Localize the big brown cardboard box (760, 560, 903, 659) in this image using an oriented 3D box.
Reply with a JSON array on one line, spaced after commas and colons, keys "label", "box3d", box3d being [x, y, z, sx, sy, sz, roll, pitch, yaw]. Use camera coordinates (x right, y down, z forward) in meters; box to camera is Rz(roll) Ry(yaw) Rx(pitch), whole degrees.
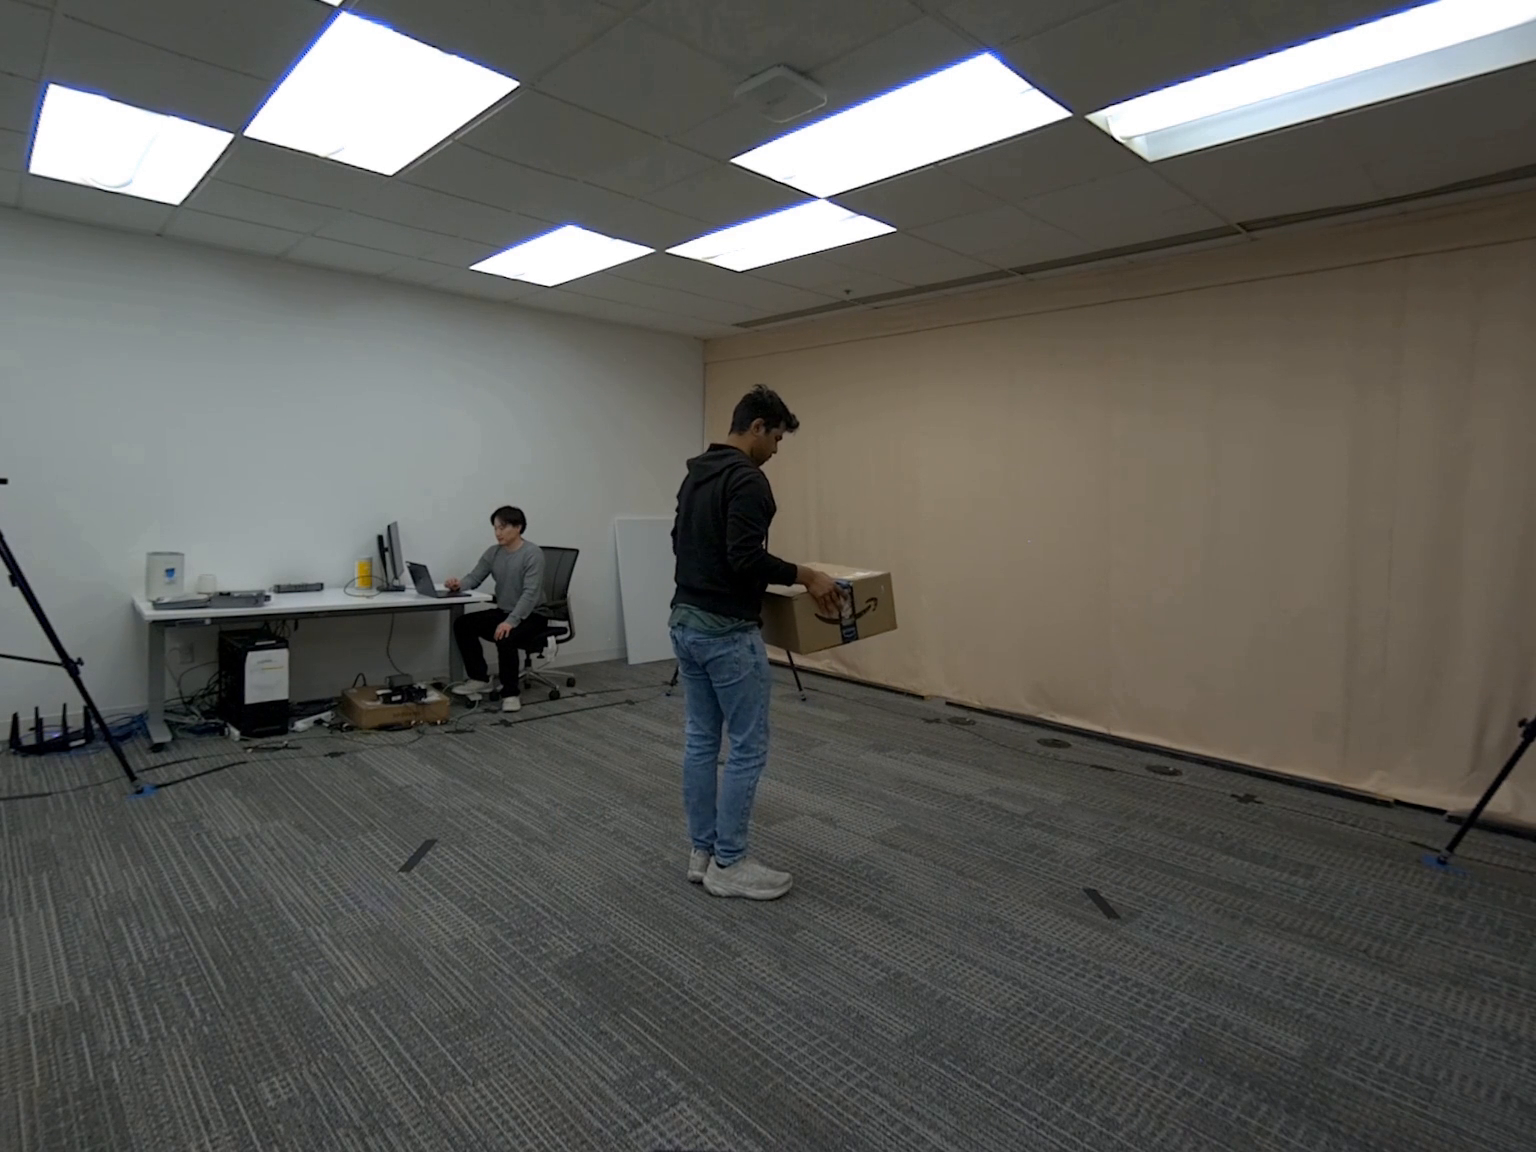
[{"label": "big brown cardboard box", "box3d": [0.153, 0.107, 3.253, 0.412, 0.232, 0.601, -13, 9, -25]}]
